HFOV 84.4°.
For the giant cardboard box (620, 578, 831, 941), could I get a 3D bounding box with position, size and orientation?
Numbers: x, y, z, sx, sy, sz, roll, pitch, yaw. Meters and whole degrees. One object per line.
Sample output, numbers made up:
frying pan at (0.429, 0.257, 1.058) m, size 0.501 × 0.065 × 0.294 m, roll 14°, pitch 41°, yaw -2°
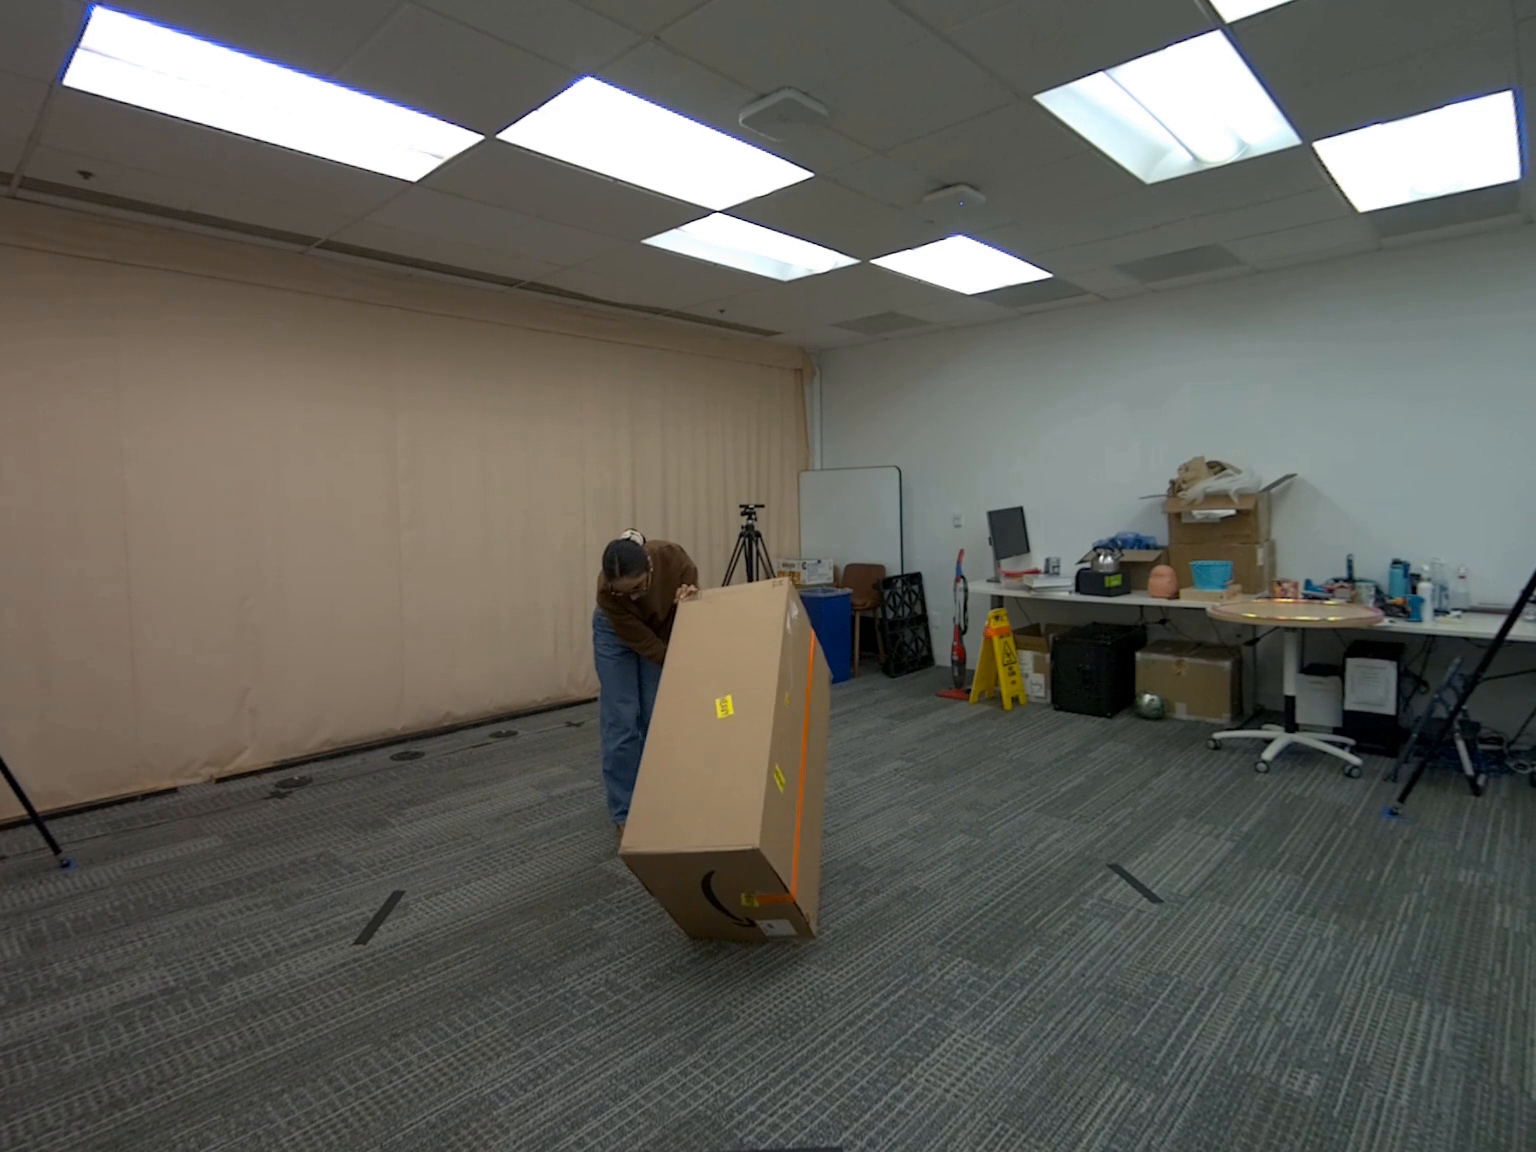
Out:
giant cardboard box at (-0.079, 0.594, 2.840) m, size 0.454 × 0.567 × 1.040 m, roll -9°, pitch 42°, yaw 16°
